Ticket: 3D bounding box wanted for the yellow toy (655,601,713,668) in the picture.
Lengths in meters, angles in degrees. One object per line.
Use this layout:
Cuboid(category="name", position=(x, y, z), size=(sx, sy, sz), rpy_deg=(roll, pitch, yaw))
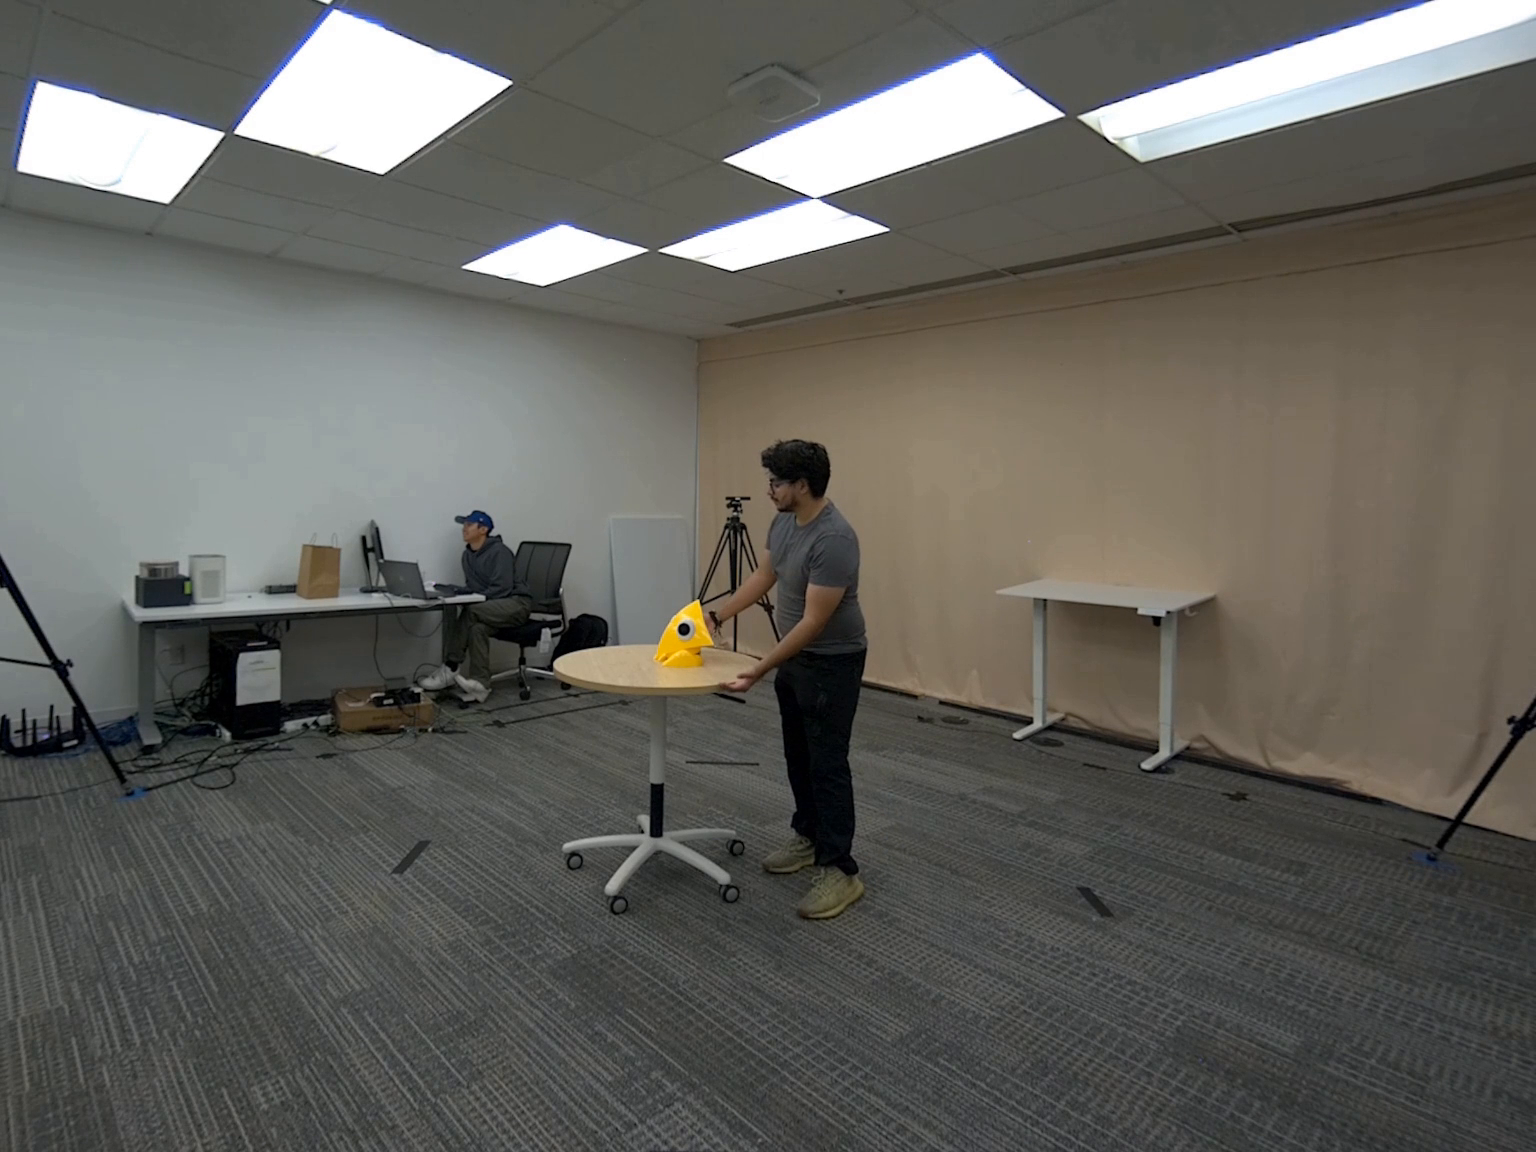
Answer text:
Cuboid(category="yellow toy", position=(-0.320, 0.205, 3.115), size=(0.190, 0.230, 0.208), rpy_deg=(0, 4, -21))
